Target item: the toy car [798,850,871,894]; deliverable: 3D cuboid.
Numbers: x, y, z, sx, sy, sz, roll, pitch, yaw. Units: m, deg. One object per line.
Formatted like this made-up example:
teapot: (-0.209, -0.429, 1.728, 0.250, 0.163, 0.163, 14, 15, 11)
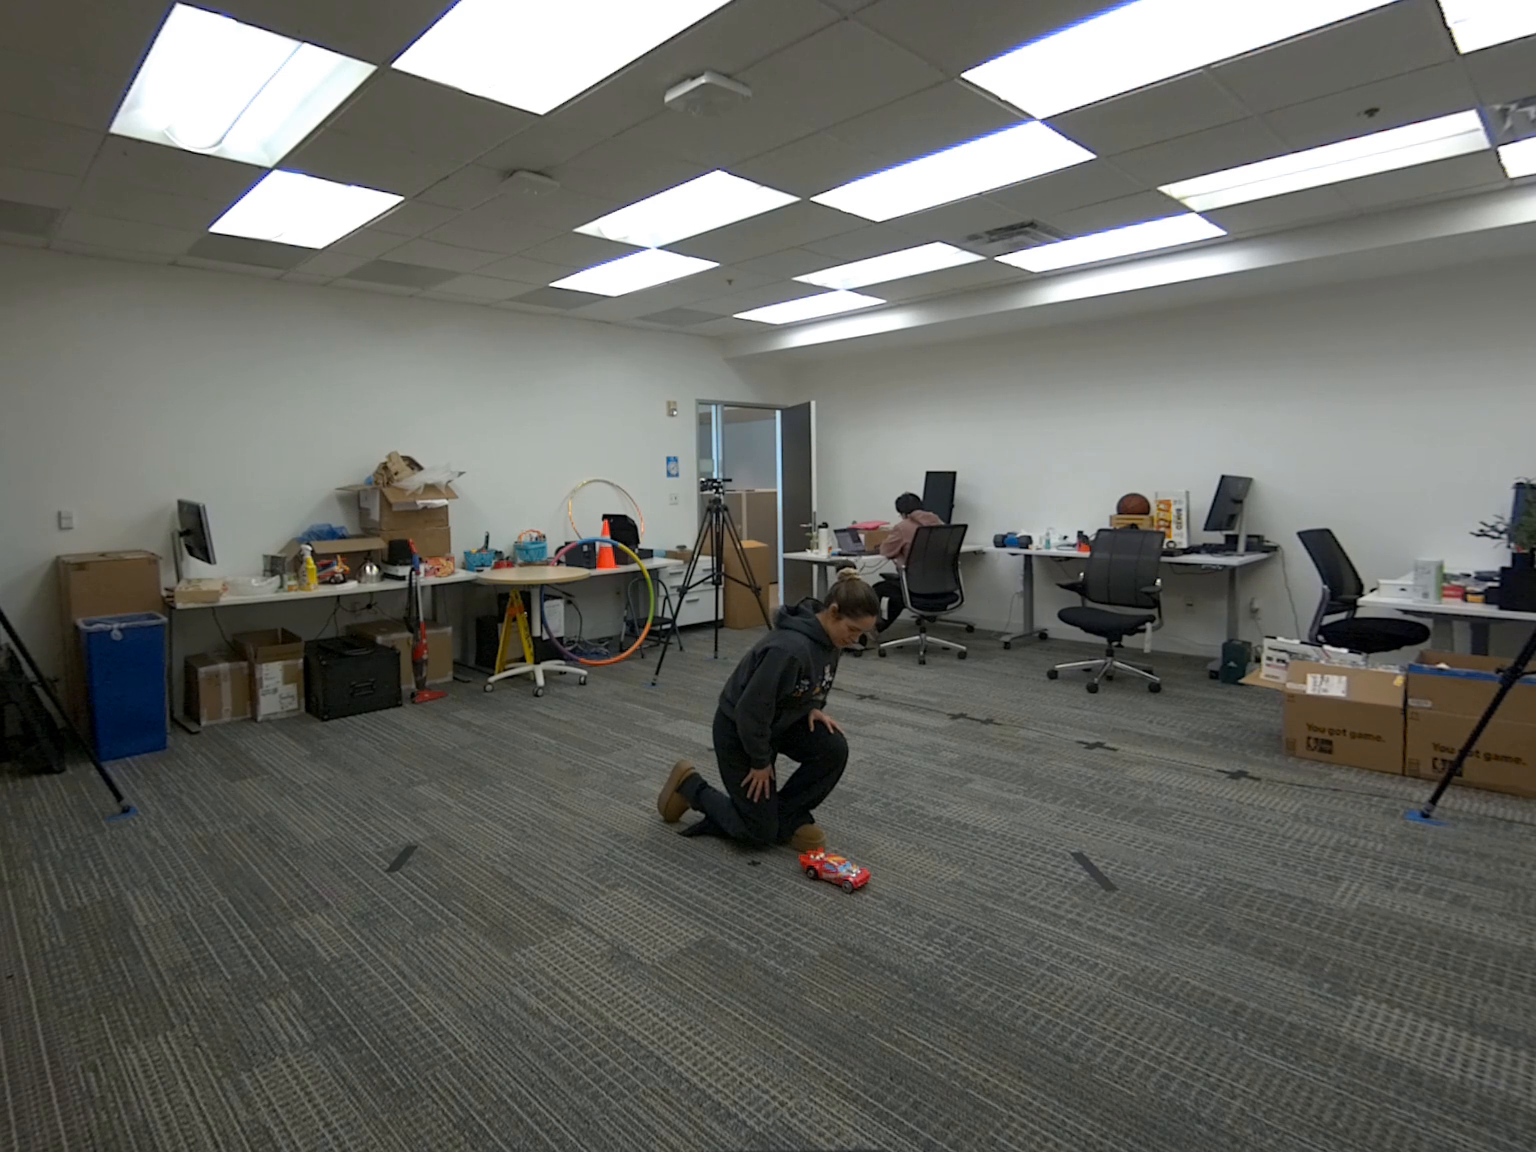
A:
toy car: (0.225, 1.025, 2.958, 0.264, 0.082, 0.127, 18, 17, 39)
